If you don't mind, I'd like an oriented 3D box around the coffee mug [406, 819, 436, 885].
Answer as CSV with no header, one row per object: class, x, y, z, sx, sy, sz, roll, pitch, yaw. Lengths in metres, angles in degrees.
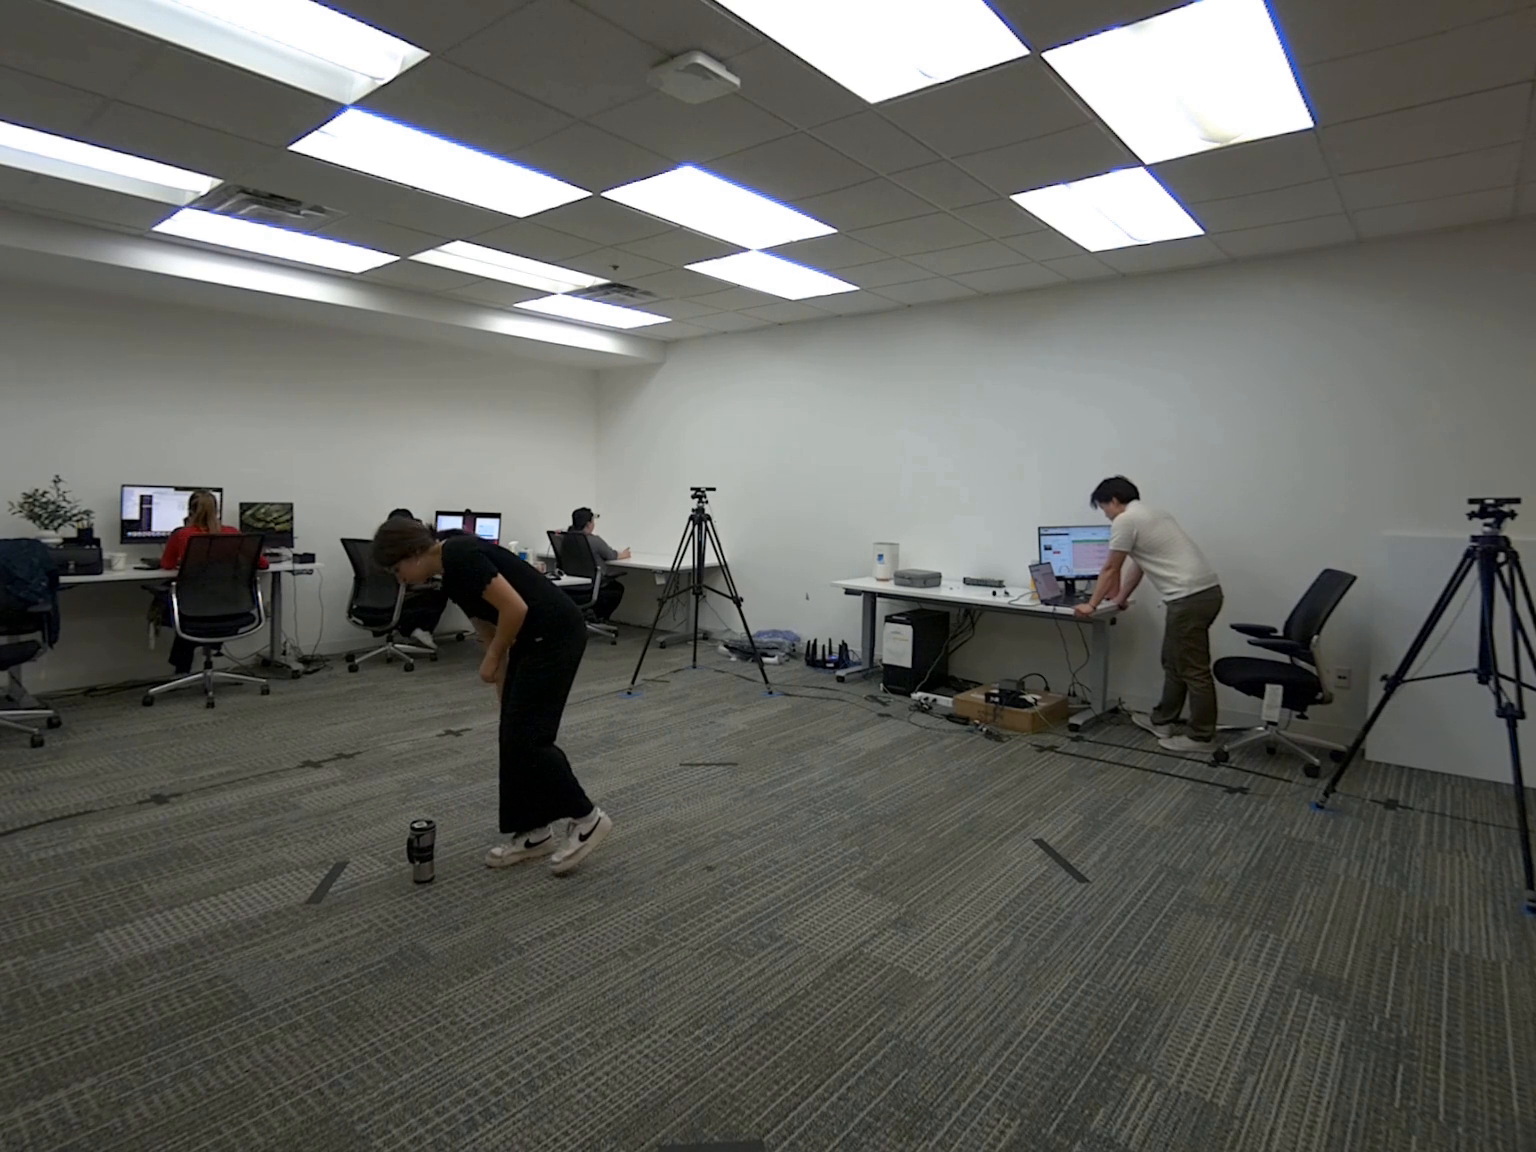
coffee mug,-1.235,0.964,2.961,0.118,0.202,0.091,0,7,-43
